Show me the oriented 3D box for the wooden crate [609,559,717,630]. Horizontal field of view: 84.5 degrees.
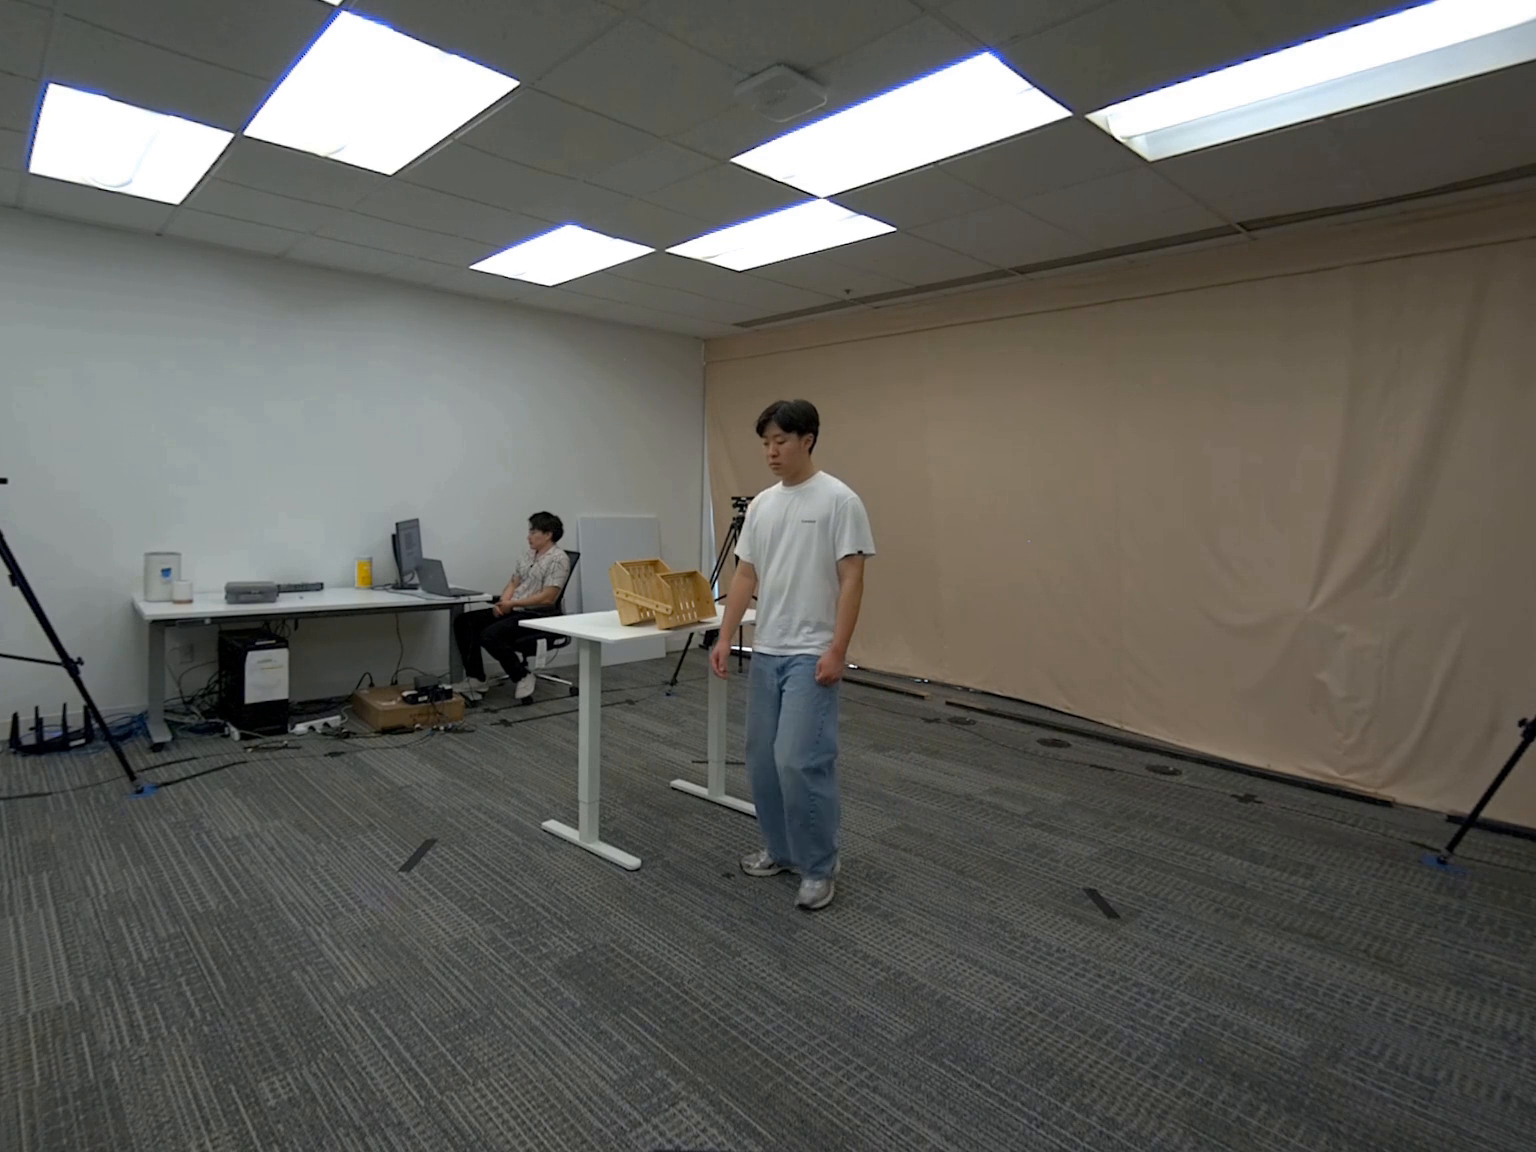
[{"bbox_3d":[-0.428,0.058,3.390,0.277,0.303,0.319,-16,-4,27],"label":"wooden crate"}]
